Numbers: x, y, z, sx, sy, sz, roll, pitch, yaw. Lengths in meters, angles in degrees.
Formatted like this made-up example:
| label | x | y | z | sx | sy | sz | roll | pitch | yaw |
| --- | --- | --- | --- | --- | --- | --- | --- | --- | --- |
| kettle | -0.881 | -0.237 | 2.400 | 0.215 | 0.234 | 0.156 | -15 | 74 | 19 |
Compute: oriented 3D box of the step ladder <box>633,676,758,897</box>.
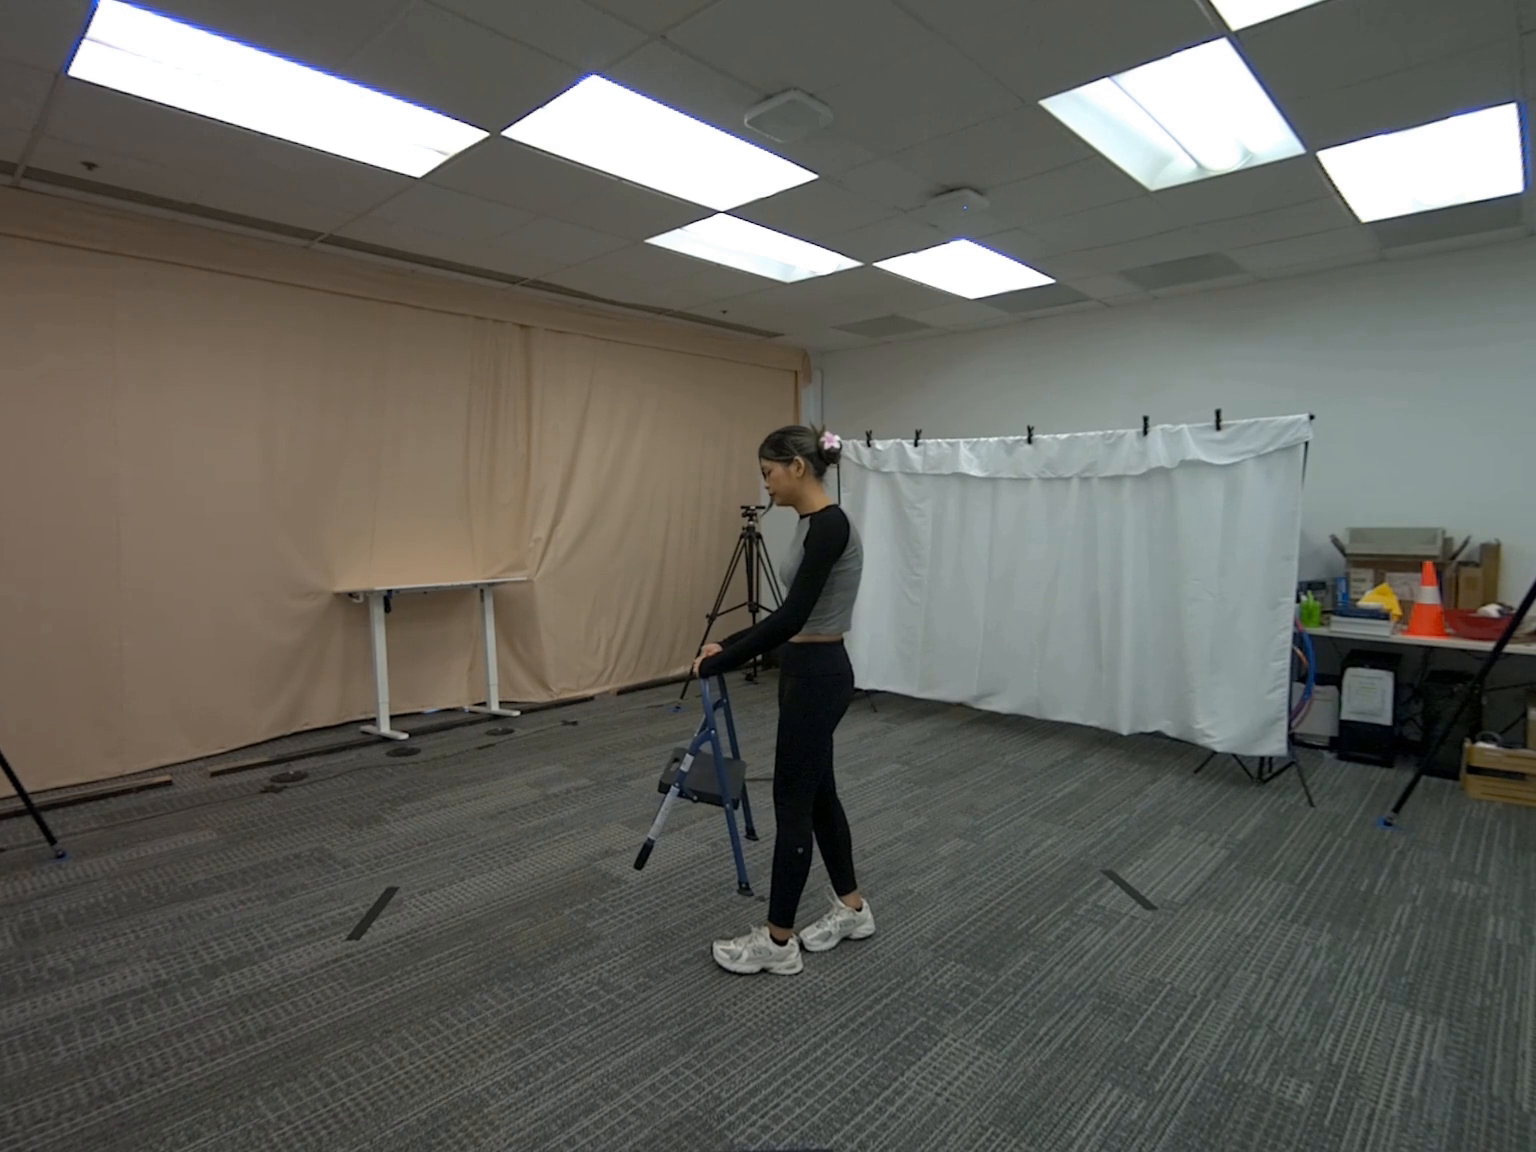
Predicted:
| label | x | y | z | sx | sy | sz | roll | pitch | yaw |
| --- | --- | --- | --- | --- | --- | --- | --- | --- | --- |
| step ladder | -0.149 | 0.579 | 2.573 | 0.350 | 0.605 | 0.430 | 10 | 5 | 1 |
